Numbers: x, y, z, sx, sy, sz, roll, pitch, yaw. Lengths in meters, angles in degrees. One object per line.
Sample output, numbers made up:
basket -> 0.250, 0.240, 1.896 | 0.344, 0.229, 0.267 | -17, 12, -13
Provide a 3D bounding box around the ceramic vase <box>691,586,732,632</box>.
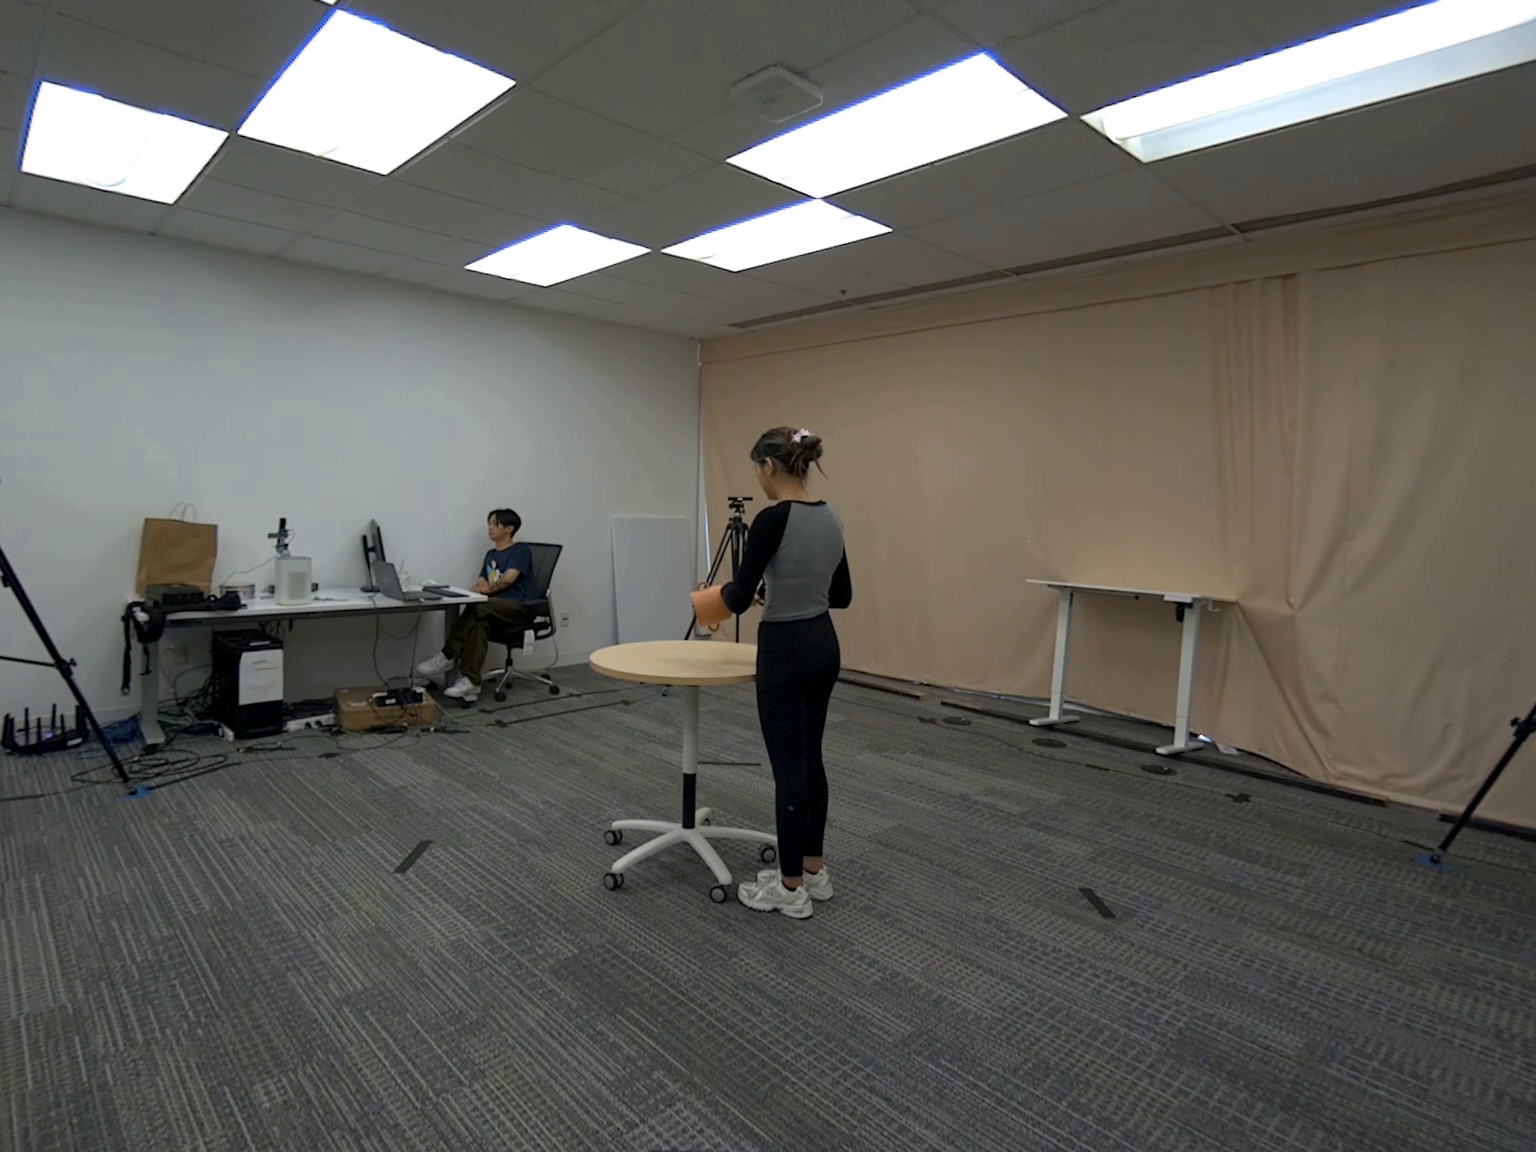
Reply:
ceramic vase -> -0.178, 0.091, 3.085 | 0.220, 0.138, 0.155 | -14, -35, 1
